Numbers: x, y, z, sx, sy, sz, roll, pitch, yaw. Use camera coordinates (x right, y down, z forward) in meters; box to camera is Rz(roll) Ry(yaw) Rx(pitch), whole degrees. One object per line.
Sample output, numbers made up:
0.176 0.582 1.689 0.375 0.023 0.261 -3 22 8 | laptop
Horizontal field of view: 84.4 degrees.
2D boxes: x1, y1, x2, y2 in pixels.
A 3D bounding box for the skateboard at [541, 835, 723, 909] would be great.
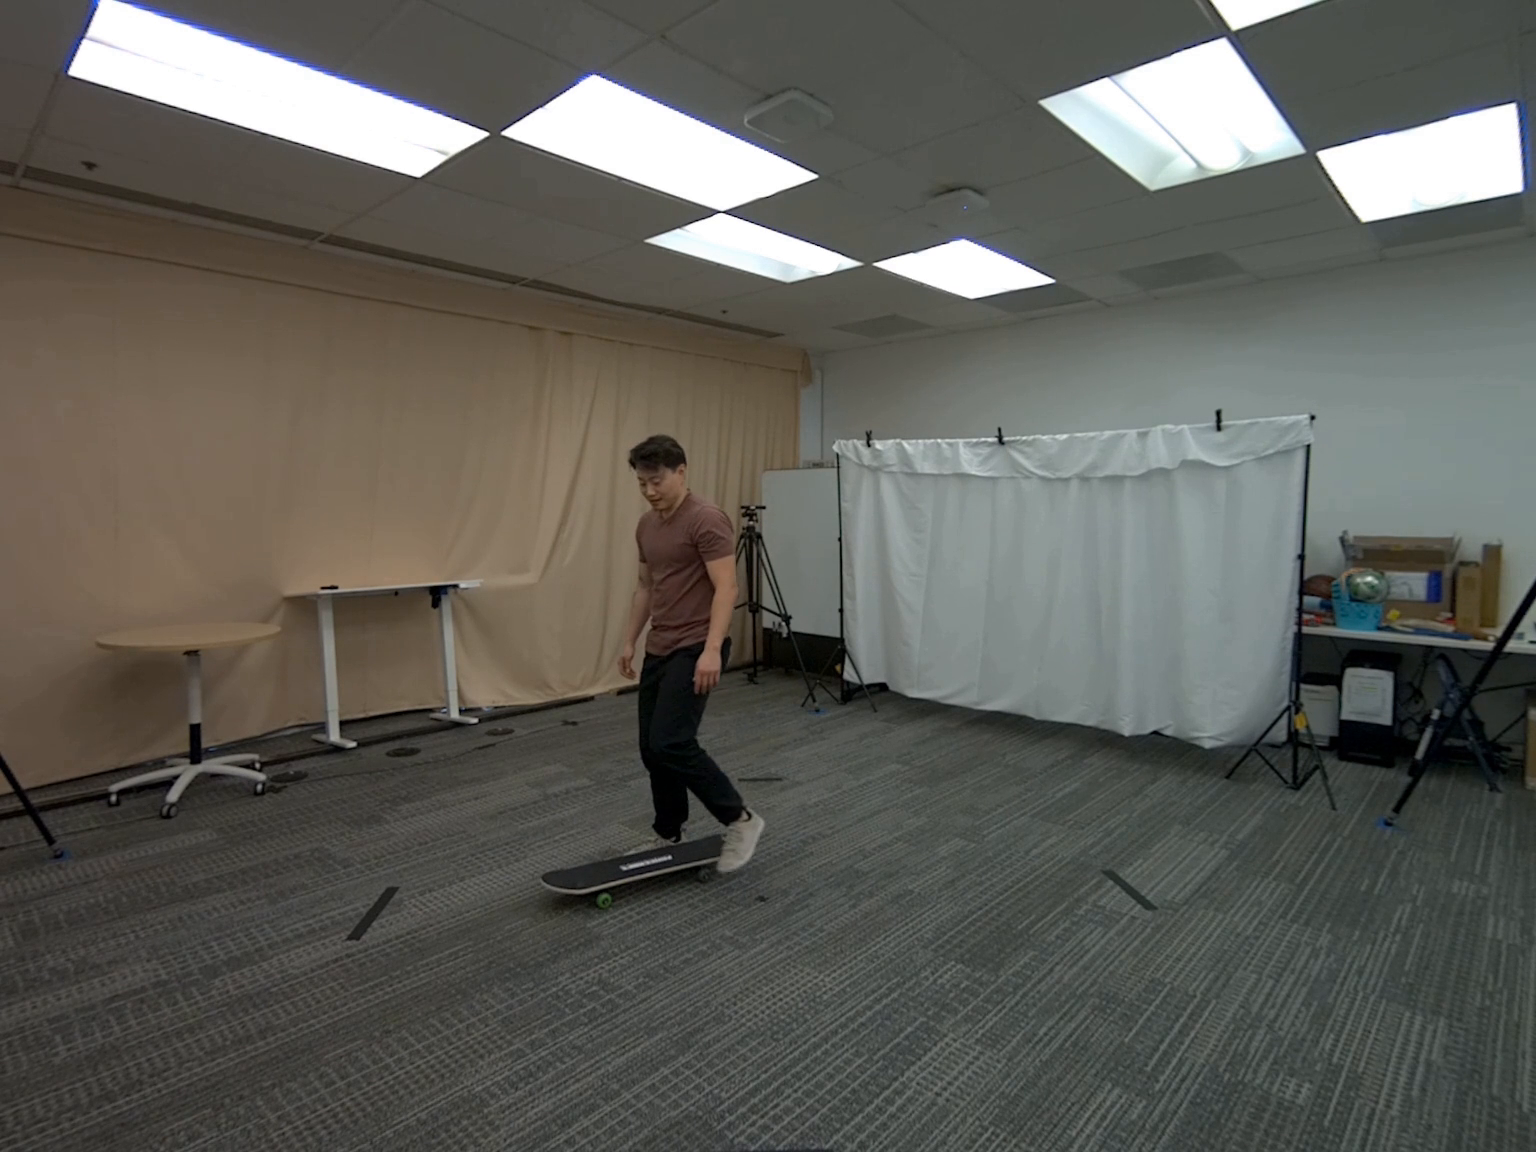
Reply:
-0.448 1.083 3.088 0.764 0.110 0.199 -3 5 -30 | skateboard
